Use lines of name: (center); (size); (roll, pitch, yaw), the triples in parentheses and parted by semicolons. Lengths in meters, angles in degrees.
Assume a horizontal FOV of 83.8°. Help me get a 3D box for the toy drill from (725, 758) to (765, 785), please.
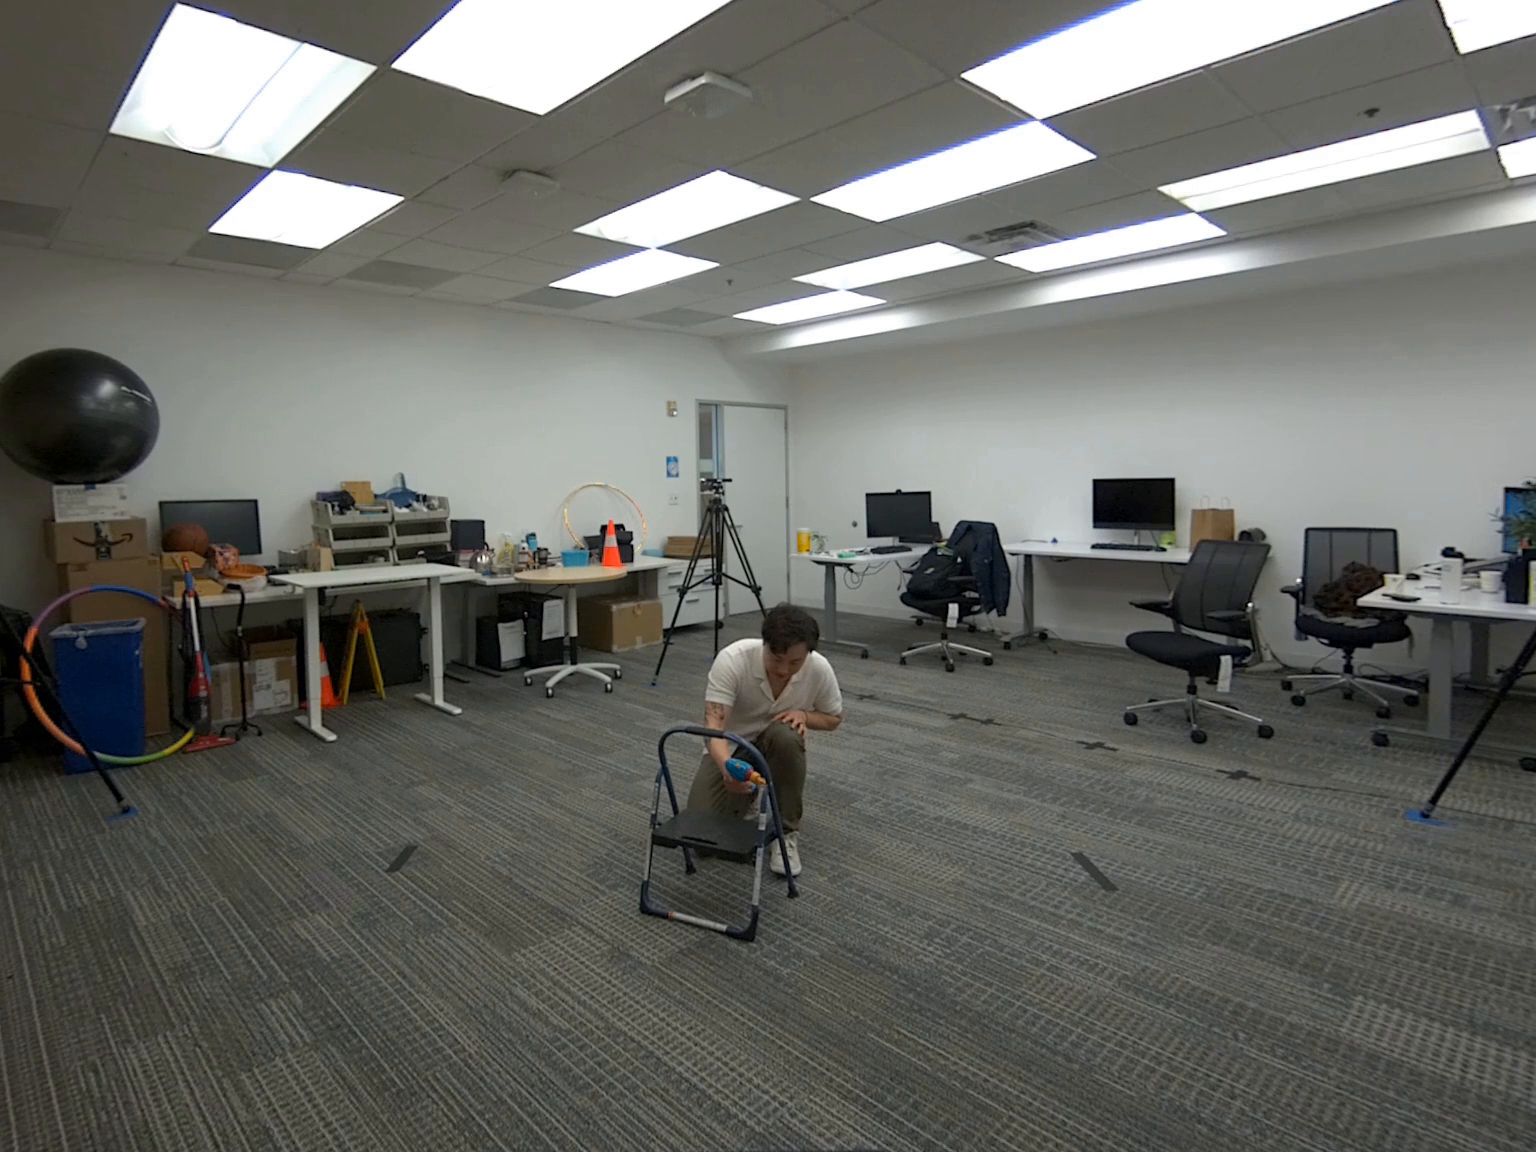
toy drill: (-0.065, 0.667, 2.775); (0.176, 0.141, 0.061); (18, 54, 36)
